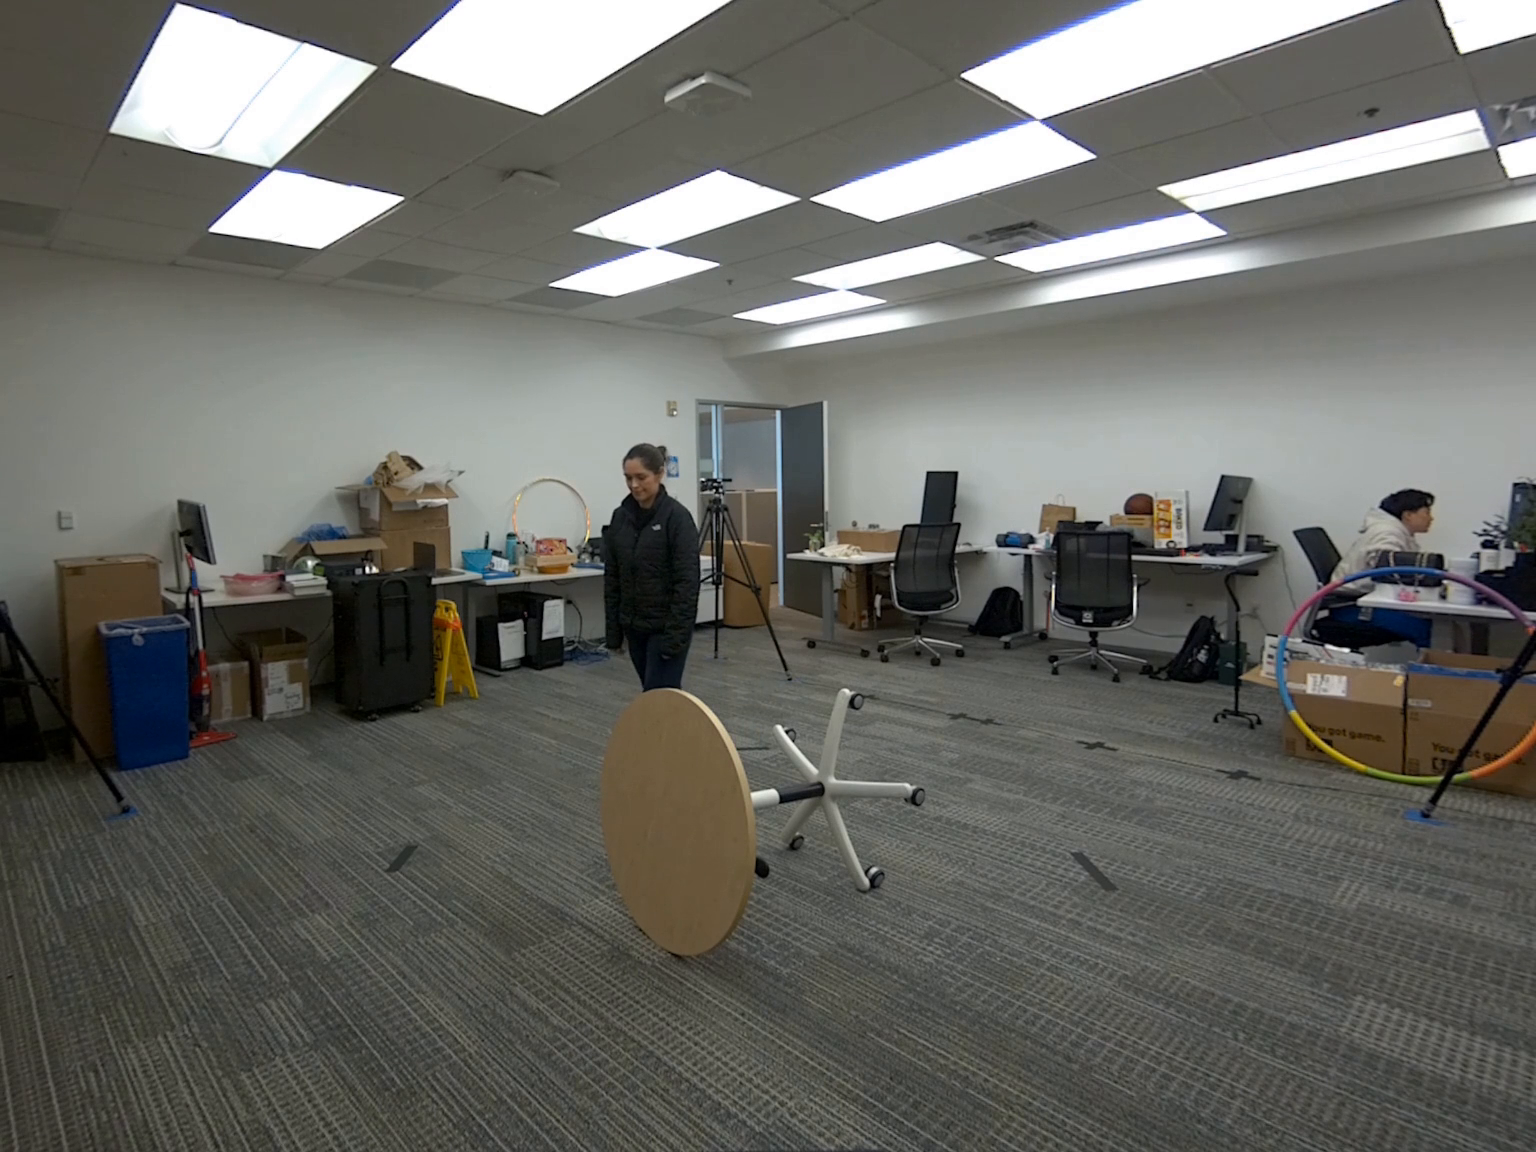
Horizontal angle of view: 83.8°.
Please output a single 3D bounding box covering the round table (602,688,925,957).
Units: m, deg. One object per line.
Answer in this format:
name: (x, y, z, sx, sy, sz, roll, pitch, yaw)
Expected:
round table: (-0.004, 0.737, 2.831, 0.763, 0.785, 0.809, 2, 2, -40)
